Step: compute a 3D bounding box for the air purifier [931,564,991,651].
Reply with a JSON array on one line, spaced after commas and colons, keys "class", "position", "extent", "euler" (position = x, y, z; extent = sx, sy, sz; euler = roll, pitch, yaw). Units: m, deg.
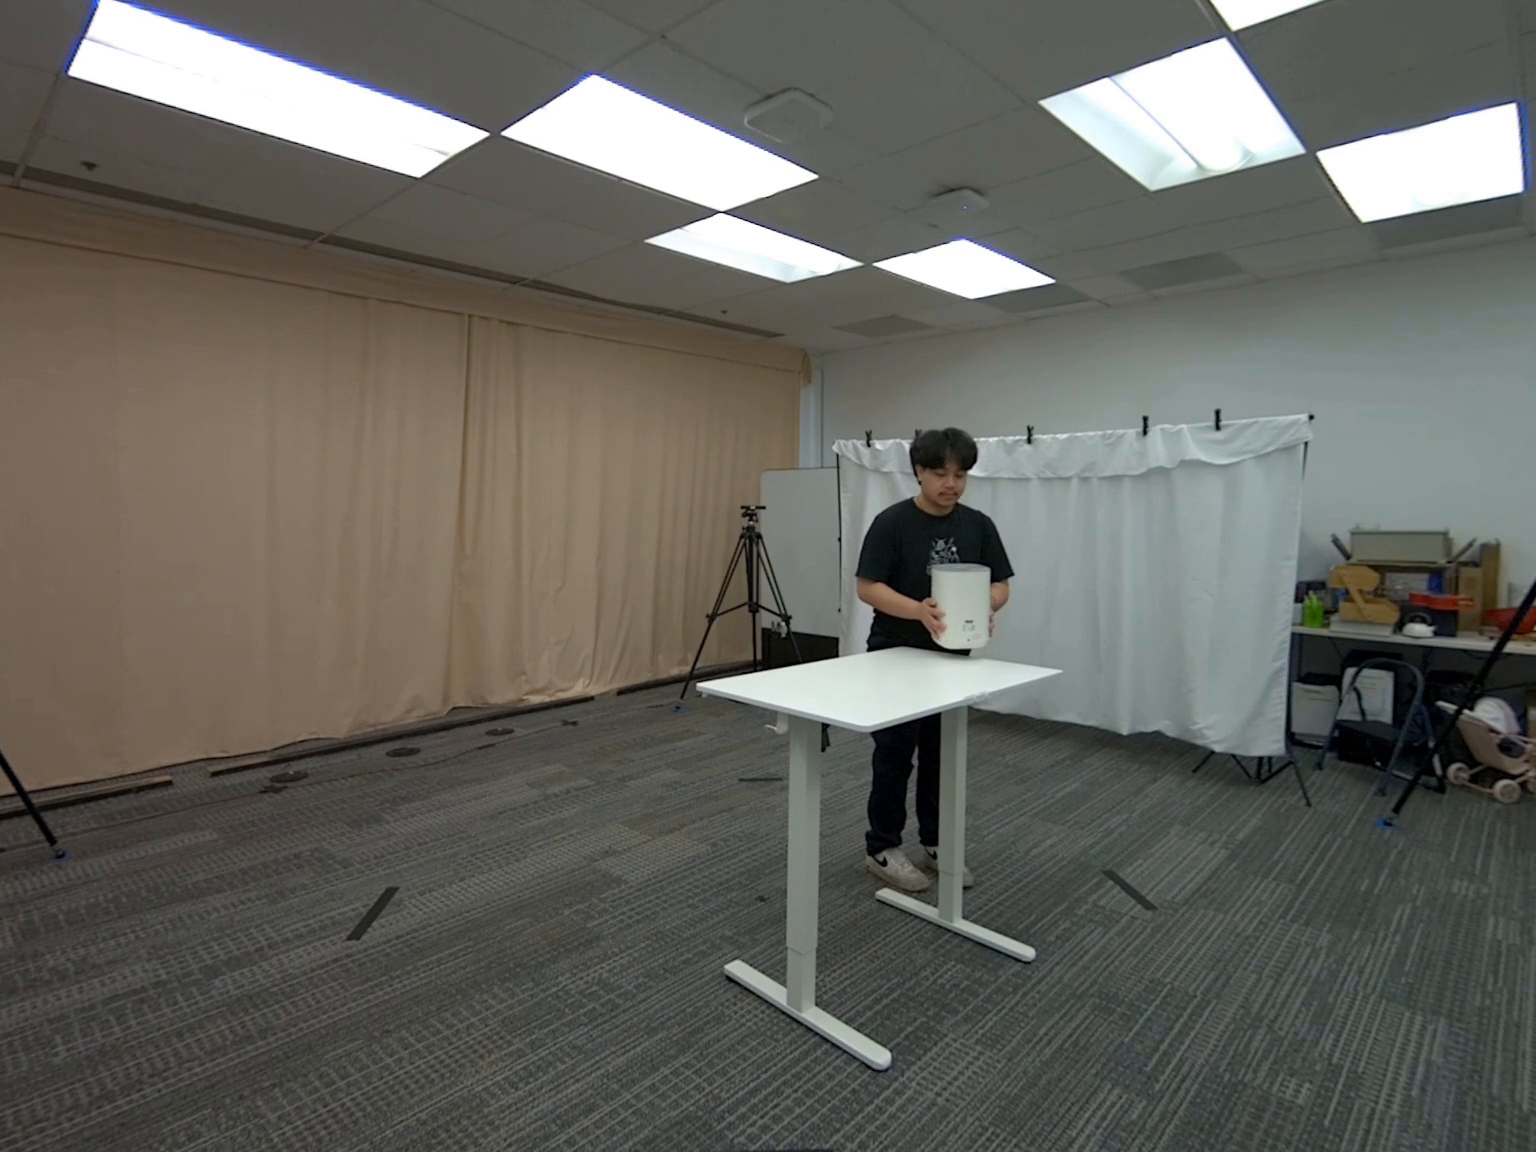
[{"class": "air purifier", "position": [0.644, 0.100, 2.822], "extent": [0.170, 0.264, 0.173], "euler": [0, 6, -6]}]
